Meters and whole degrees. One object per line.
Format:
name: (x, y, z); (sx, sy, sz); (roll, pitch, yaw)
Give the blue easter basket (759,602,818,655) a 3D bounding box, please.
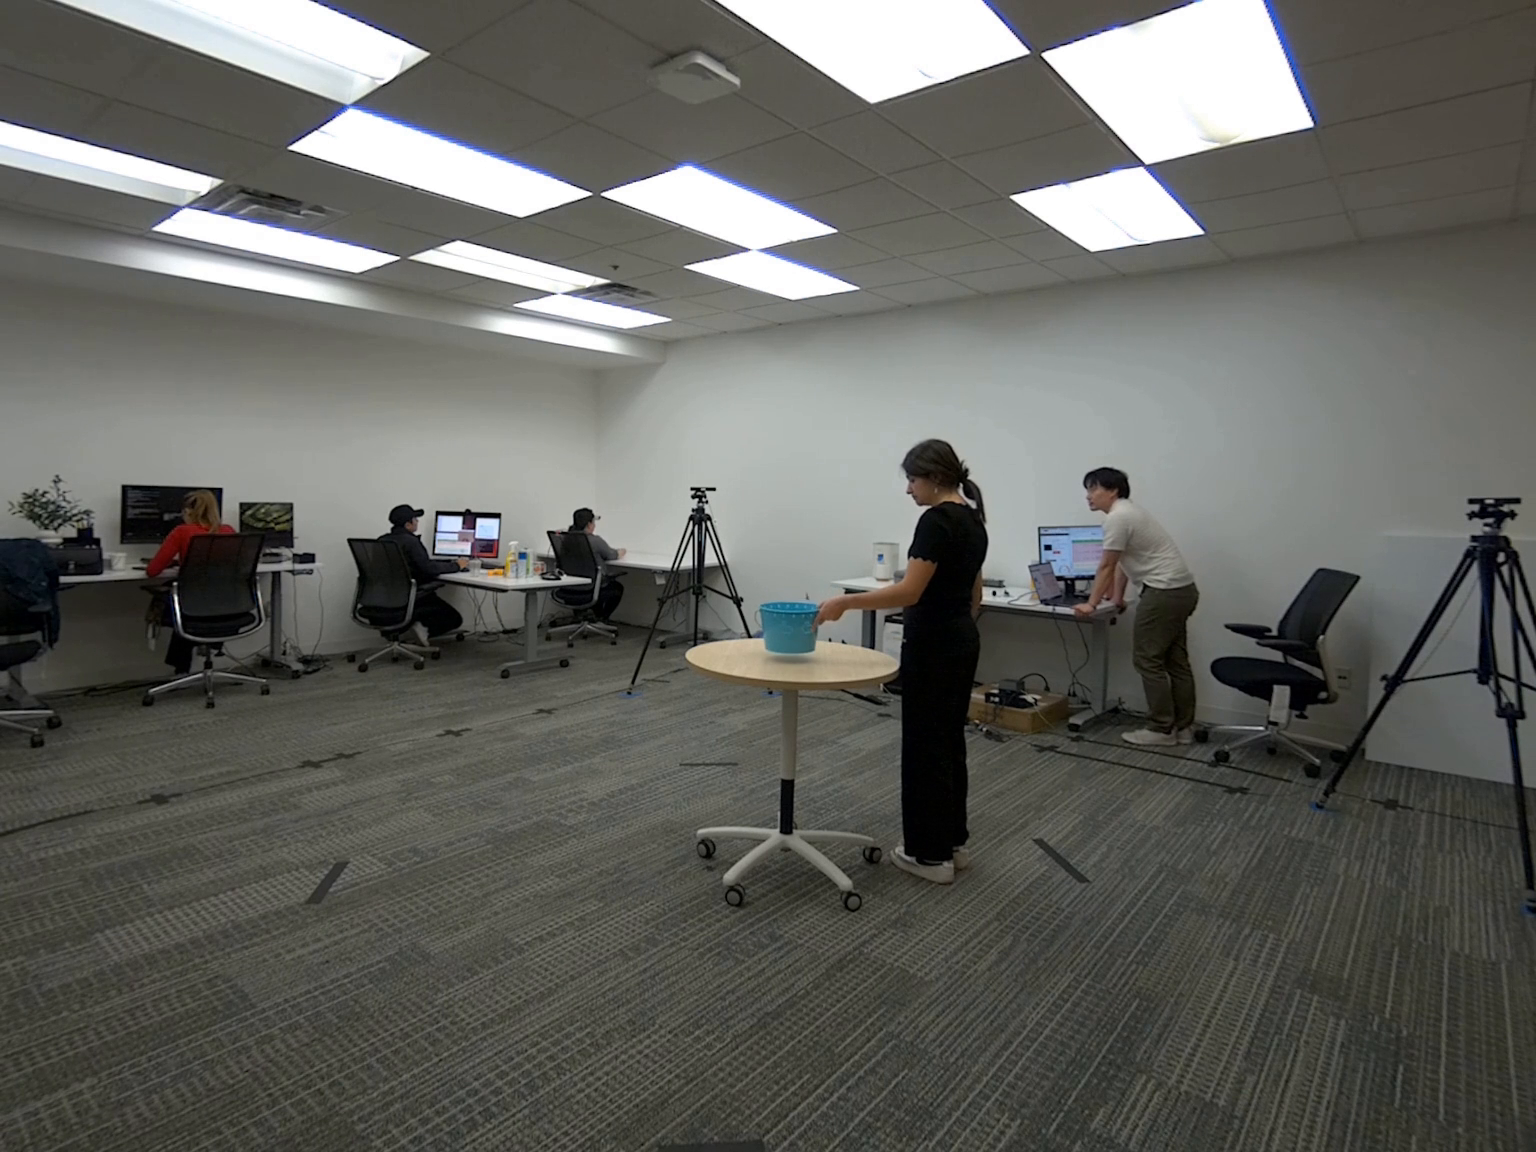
blue easter basket: (0.083, 0.183, 3.043); (0.243, 0.155, 0.245); (2, 5, -2)
